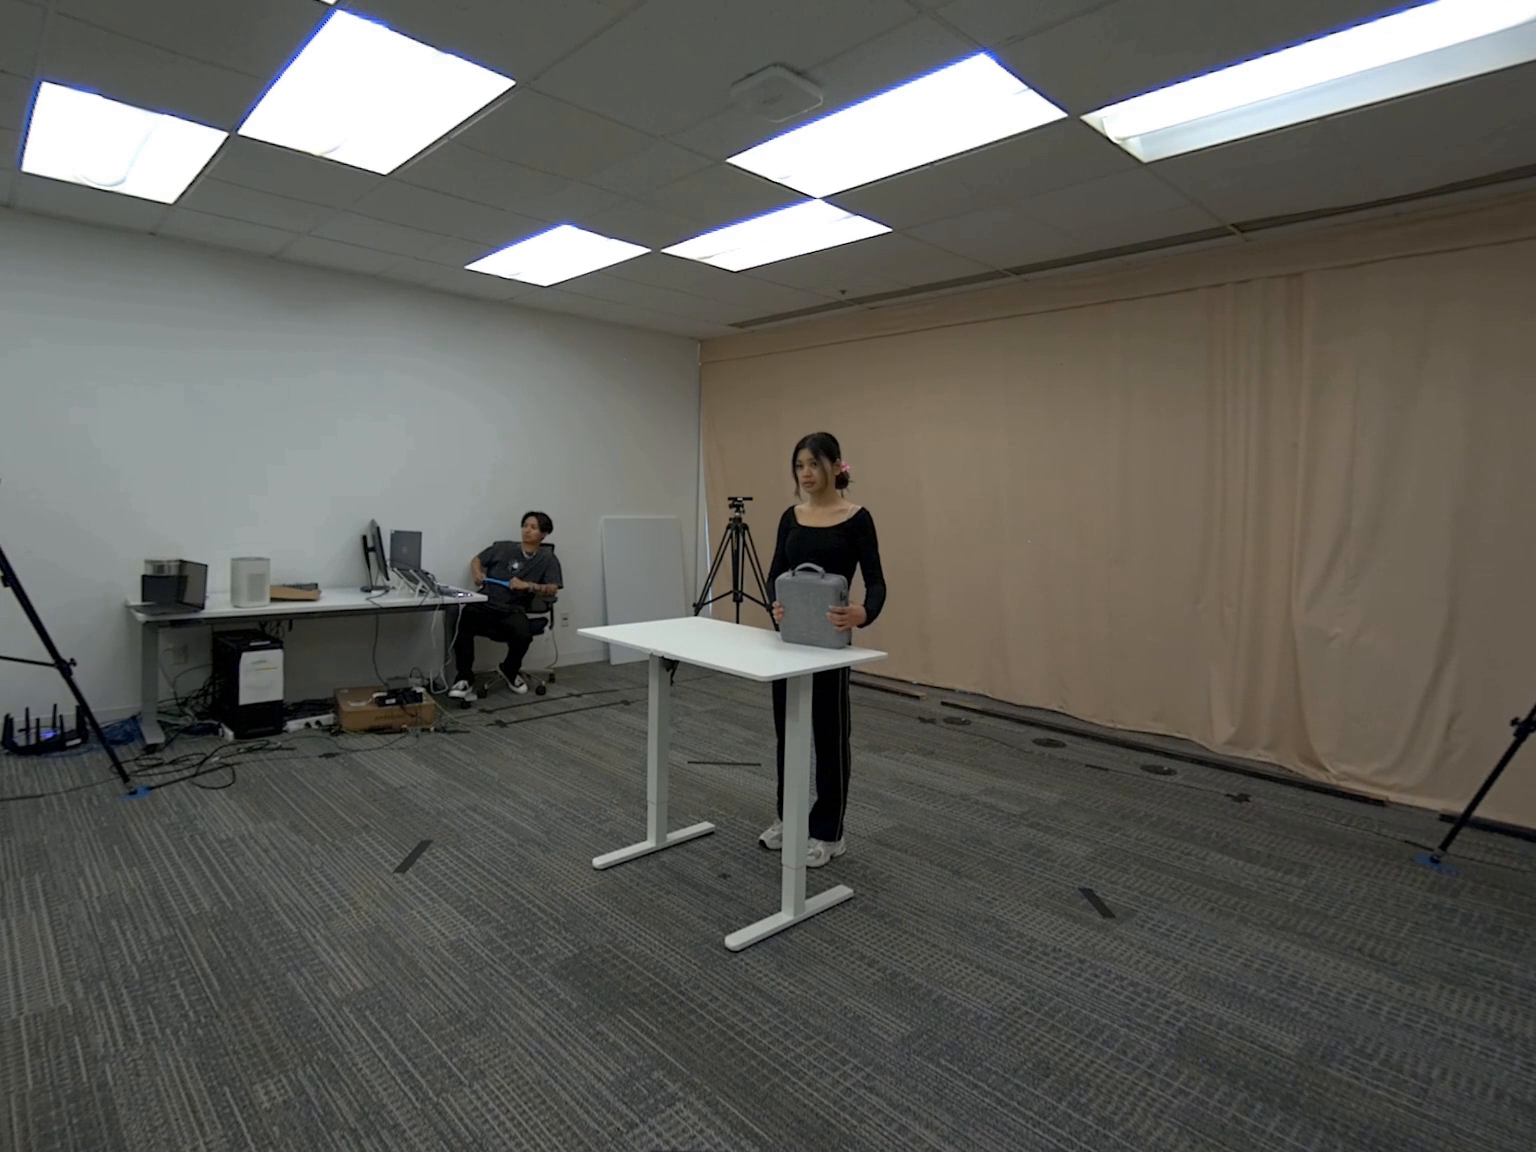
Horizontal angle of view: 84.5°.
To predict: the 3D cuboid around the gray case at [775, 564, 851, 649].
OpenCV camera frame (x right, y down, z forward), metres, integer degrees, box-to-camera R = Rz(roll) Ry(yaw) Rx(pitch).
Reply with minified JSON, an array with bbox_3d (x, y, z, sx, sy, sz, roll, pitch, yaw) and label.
[{"bbox_3d":[0.152,0.116,2.957,0.263,0.258,0.103,6,18,36],"label":"gray case"}]
